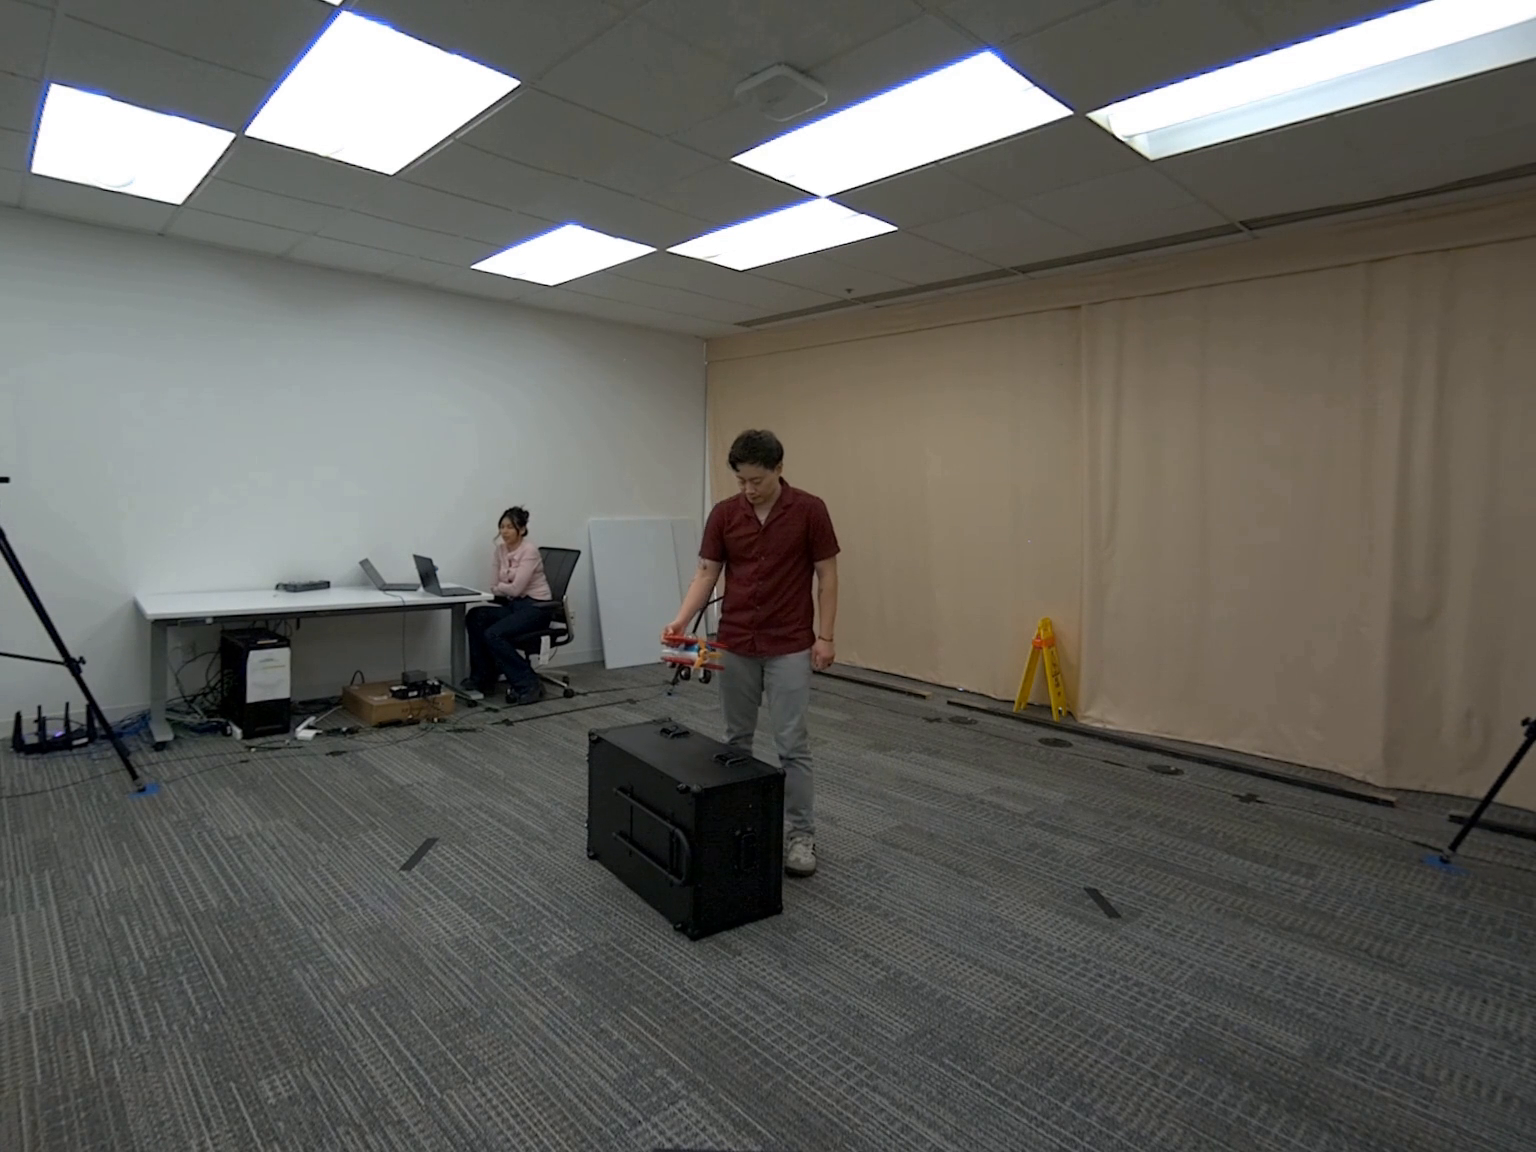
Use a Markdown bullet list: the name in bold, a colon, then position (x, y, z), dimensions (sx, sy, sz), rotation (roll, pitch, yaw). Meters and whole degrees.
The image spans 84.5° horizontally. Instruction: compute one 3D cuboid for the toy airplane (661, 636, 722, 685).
- **toy airplane**: position (-0.315, 0.295, 3.179), dimensions (0.266, 0.156, 0.245), rotation (17, 4, 32)
